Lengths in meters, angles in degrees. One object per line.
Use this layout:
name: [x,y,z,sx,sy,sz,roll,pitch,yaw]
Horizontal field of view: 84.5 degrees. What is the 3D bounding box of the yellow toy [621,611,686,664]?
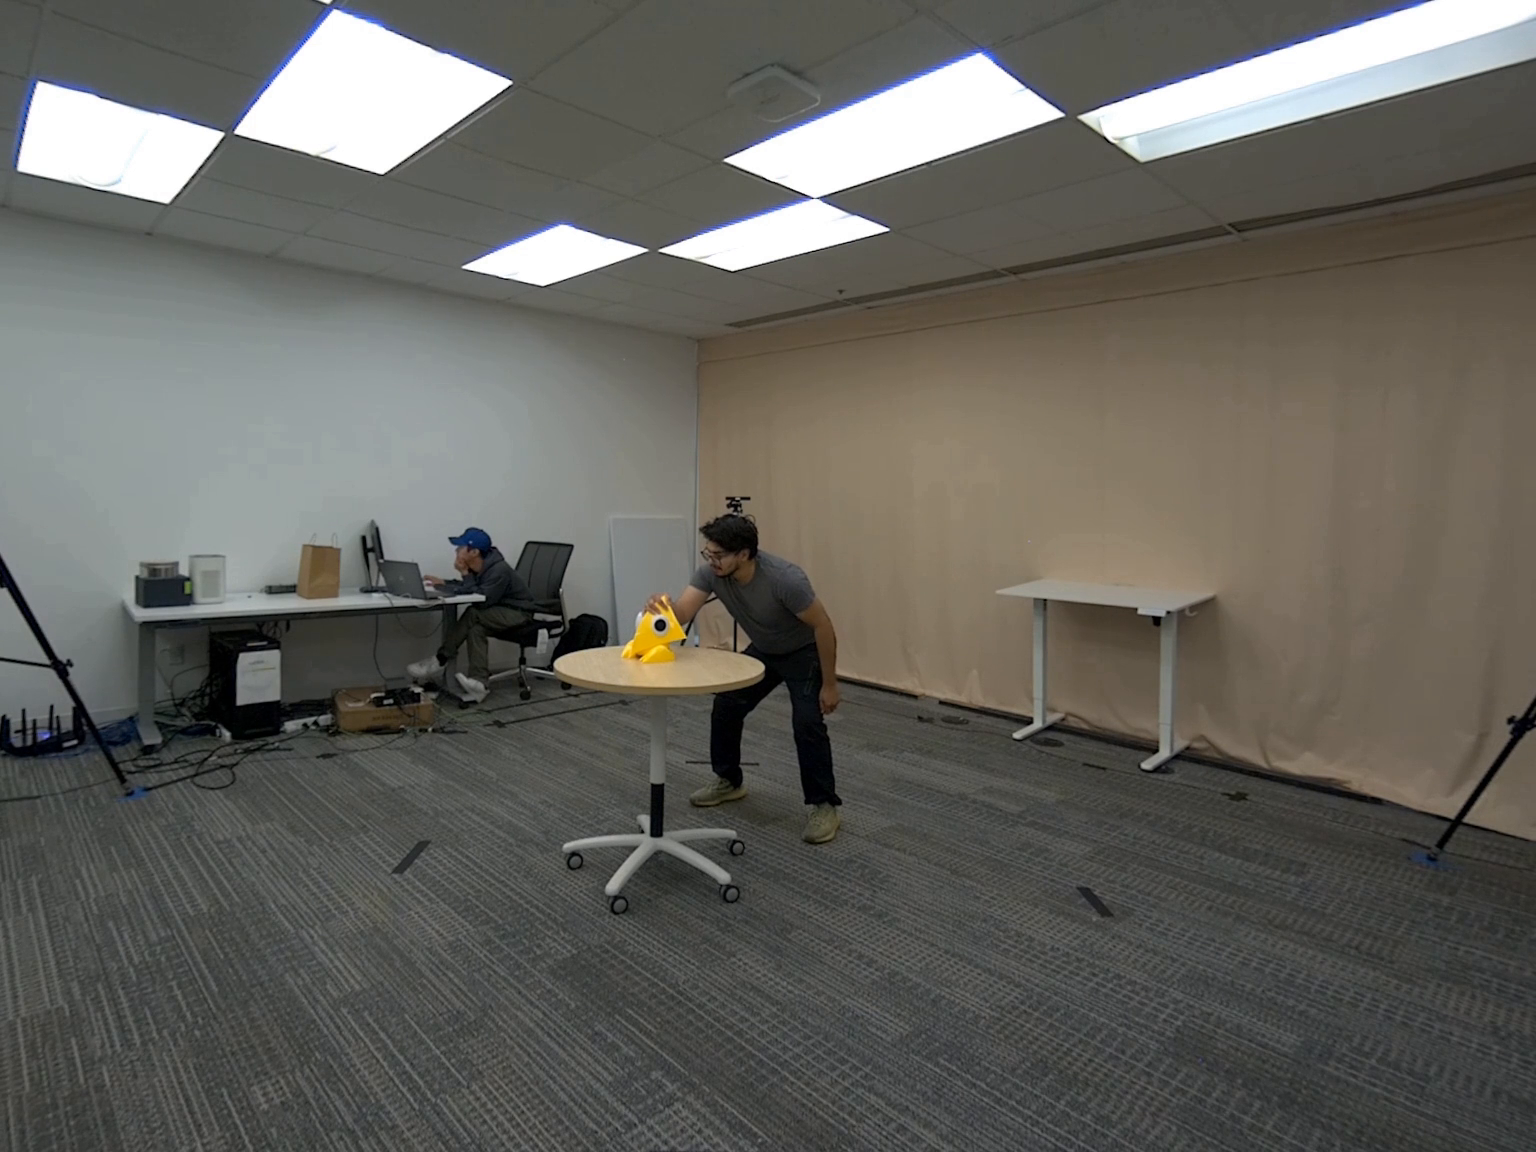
yellow toy: [-0.448,0.196,3.187,0.210,0.230,0.189,5,6,43]
